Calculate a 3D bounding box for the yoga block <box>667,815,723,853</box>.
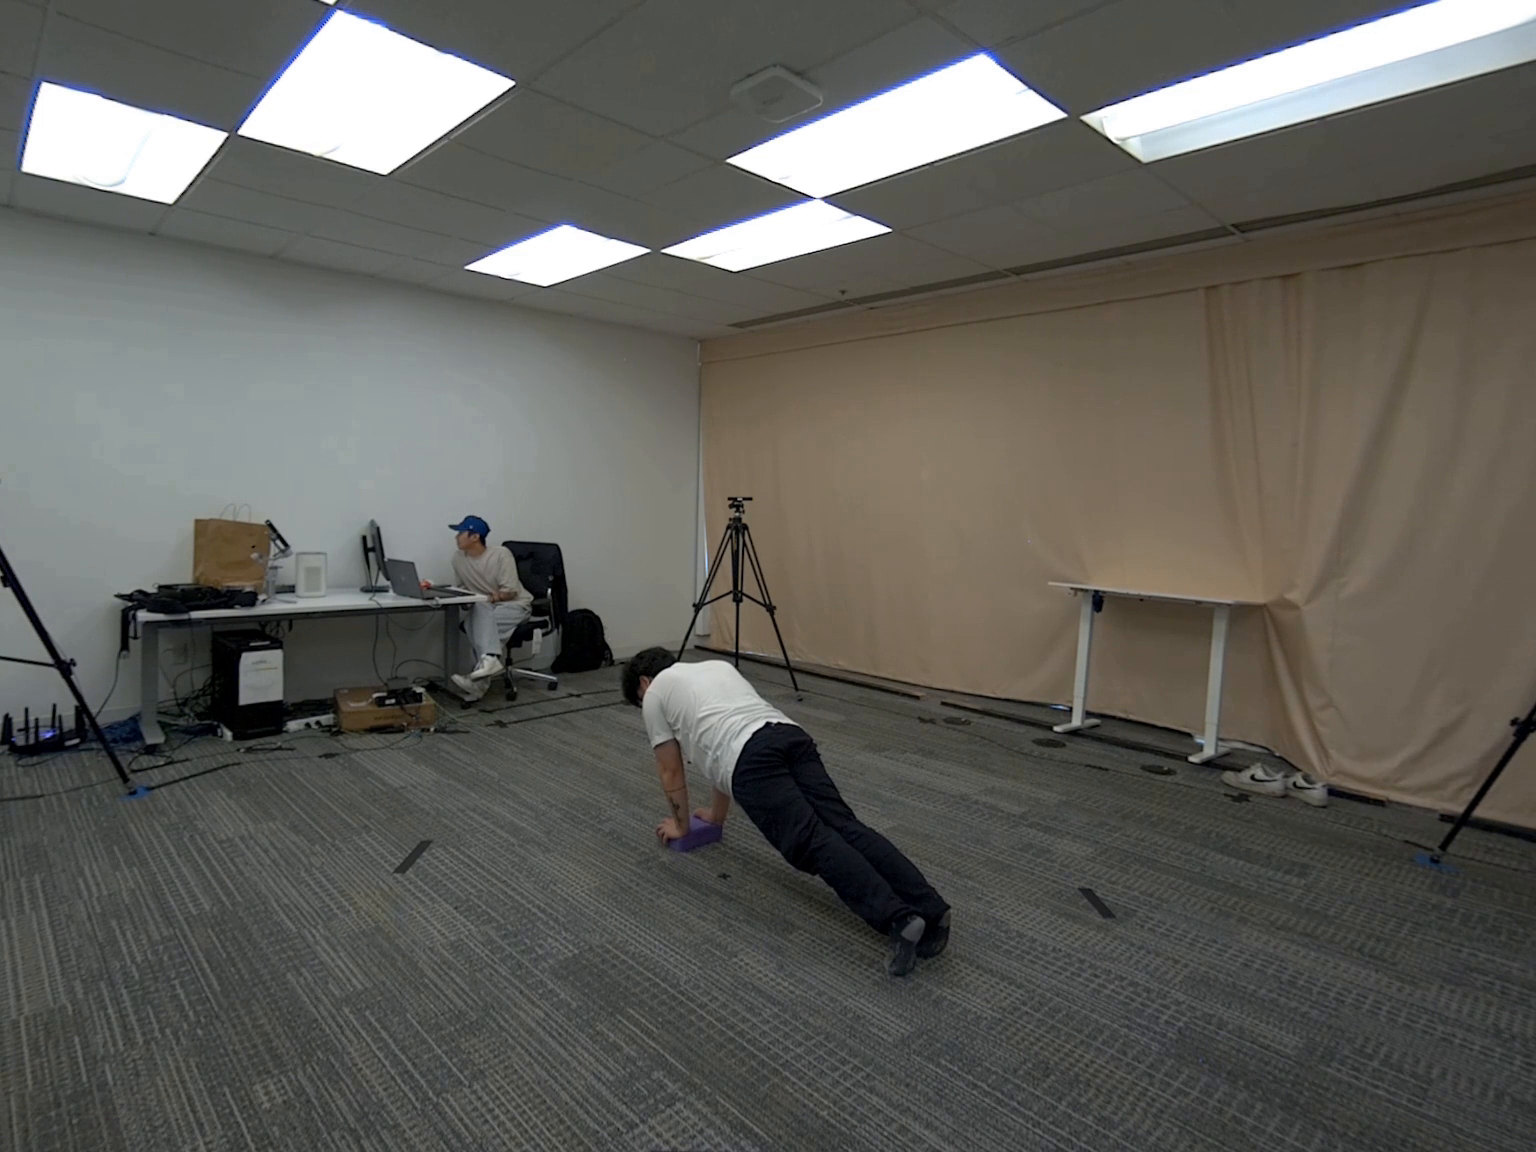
[{"bbox_3d":[-0.321,1.043,3.424,0.224,0.076,0.153,-3,7,-45],"label":"yoga block"}]
